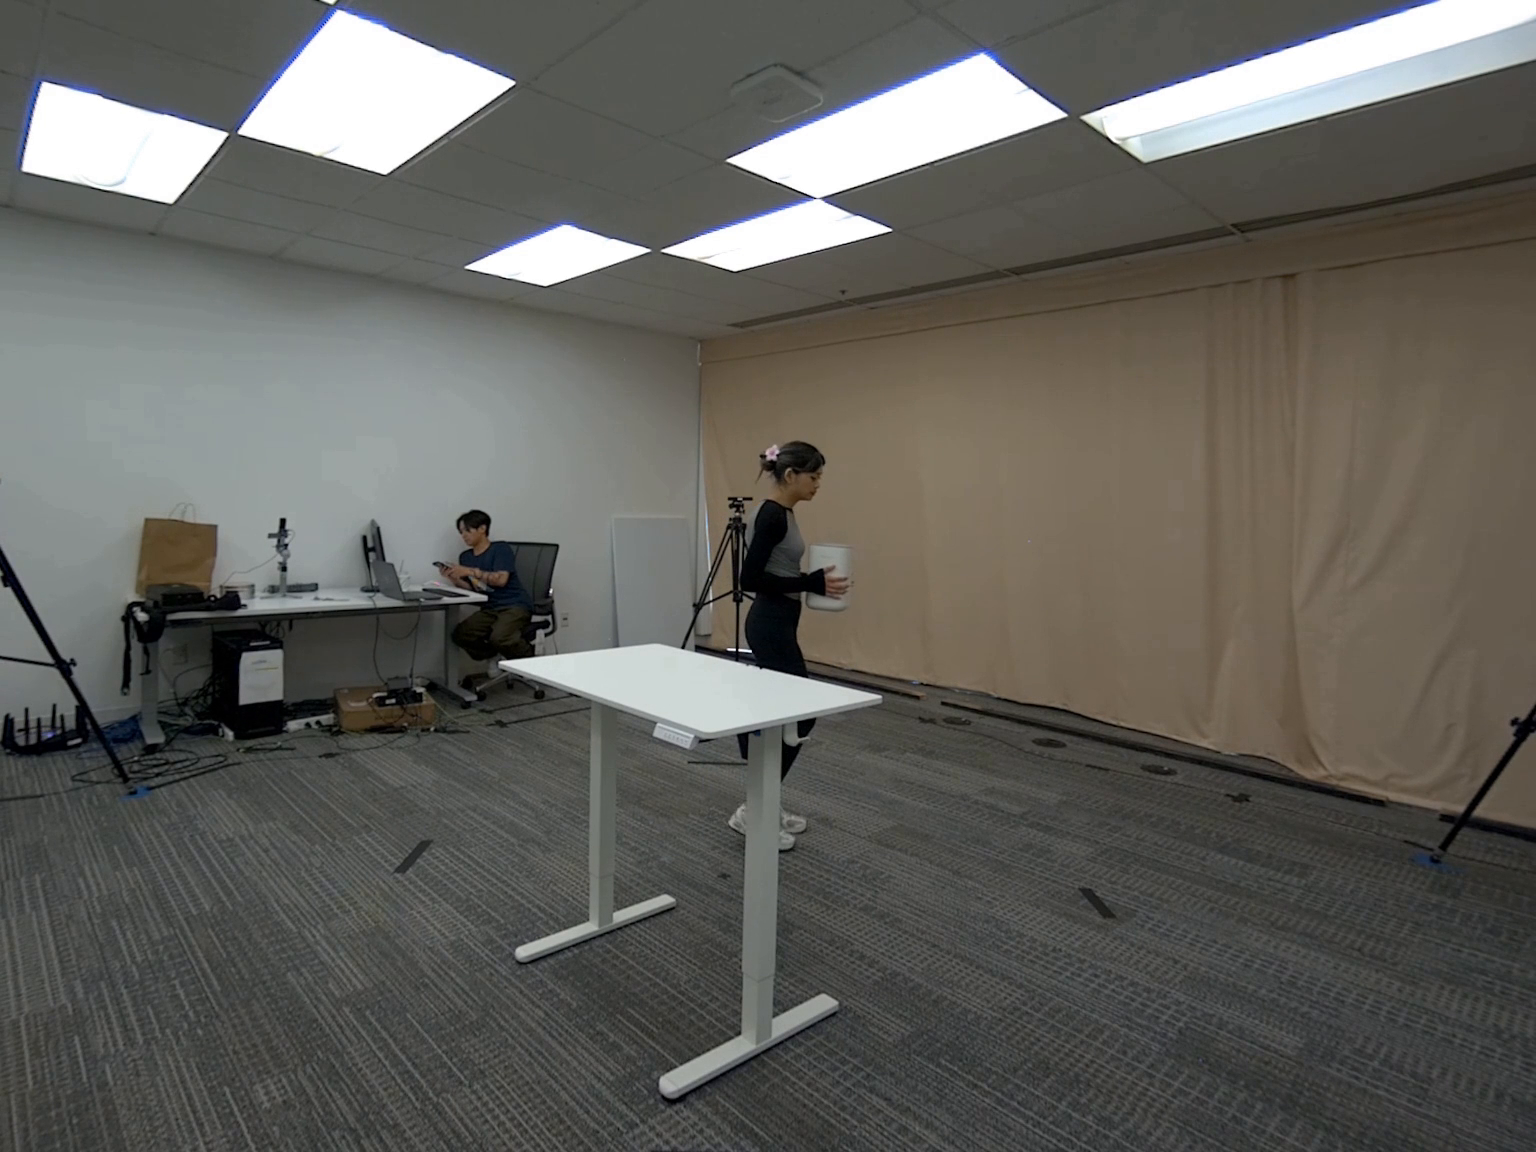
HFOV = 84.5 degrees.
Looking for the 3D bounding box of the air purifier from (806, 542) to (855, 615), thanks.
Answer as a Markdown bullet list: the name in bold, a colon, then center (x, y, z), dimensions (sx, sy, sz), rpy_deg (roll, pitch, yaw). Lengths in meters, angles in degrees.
- **air purifier**: center (0.254, 0.004, 3.432), dimensions (0.172, 0.264, 0.171), rpy_deg (3, 6, 9)
